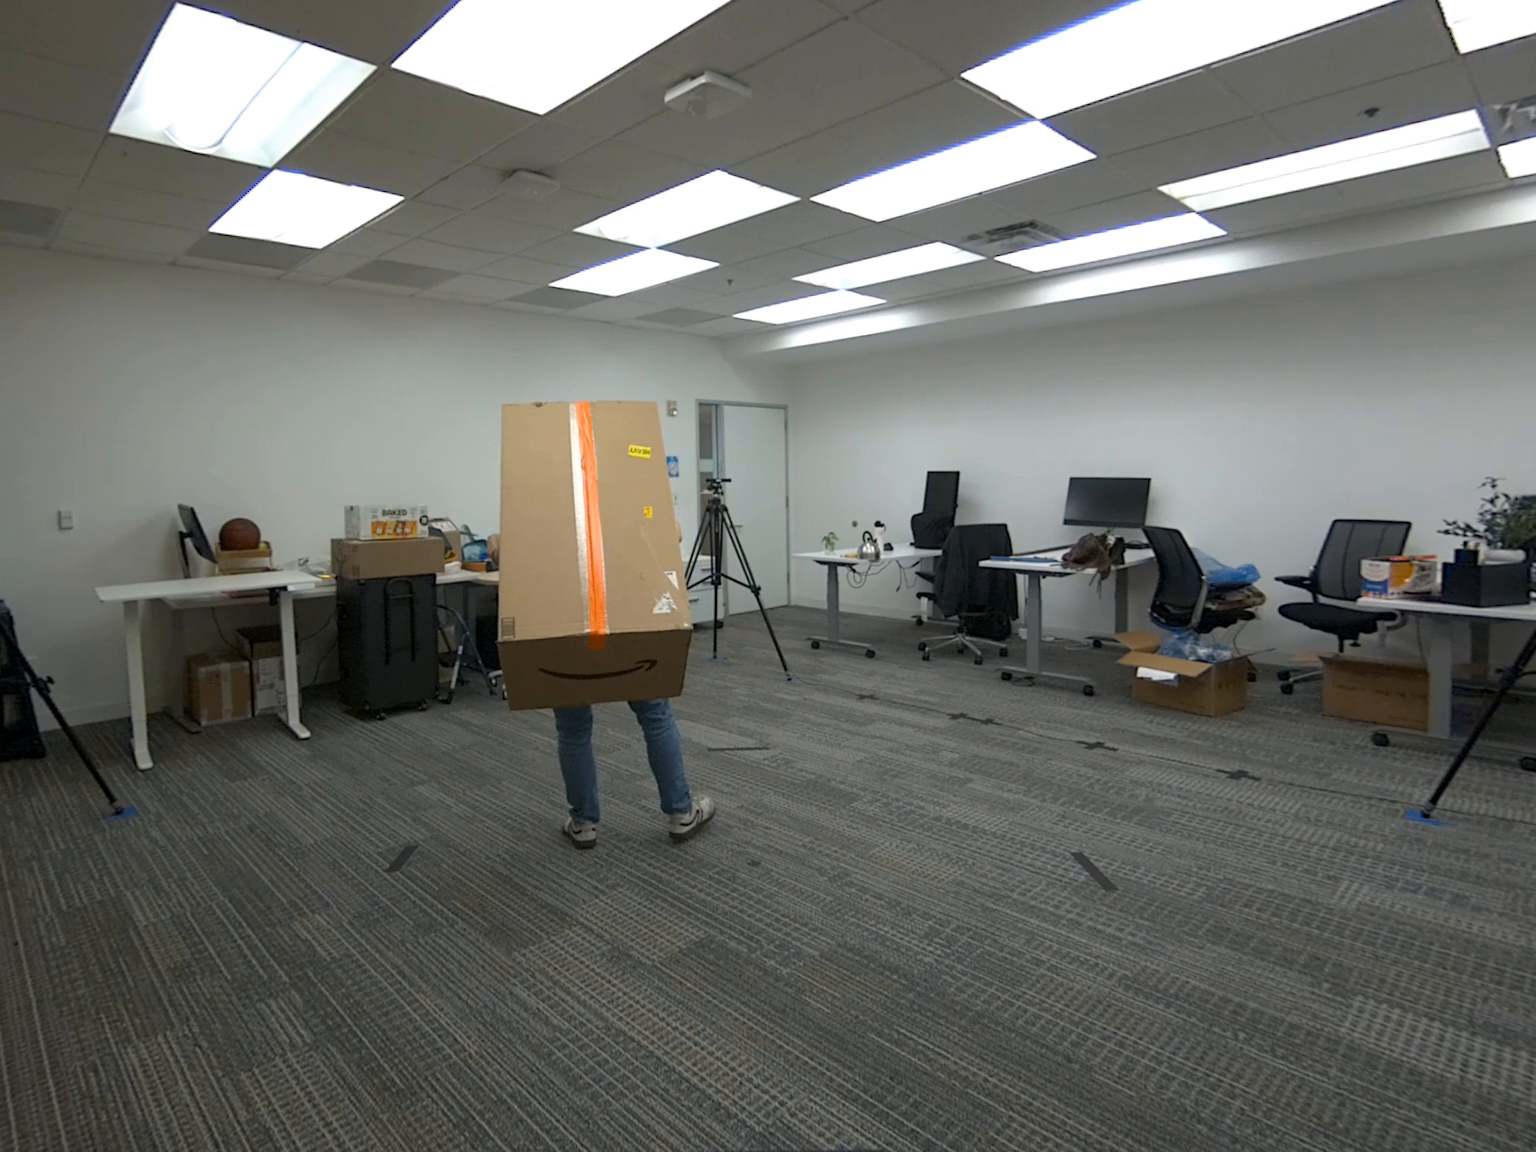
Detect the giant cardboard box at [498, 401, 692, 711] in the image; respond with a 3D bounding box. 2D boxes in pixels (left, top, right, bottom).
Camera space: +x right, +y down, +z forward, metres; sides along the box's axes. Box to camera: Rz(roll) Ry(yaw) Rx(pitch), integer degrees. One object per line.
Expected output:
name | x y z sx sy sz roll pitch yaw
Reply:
giant cardboard box | -0.620 -0.105 3.005 0.572 1.058 0.417 -4 -37 -12
